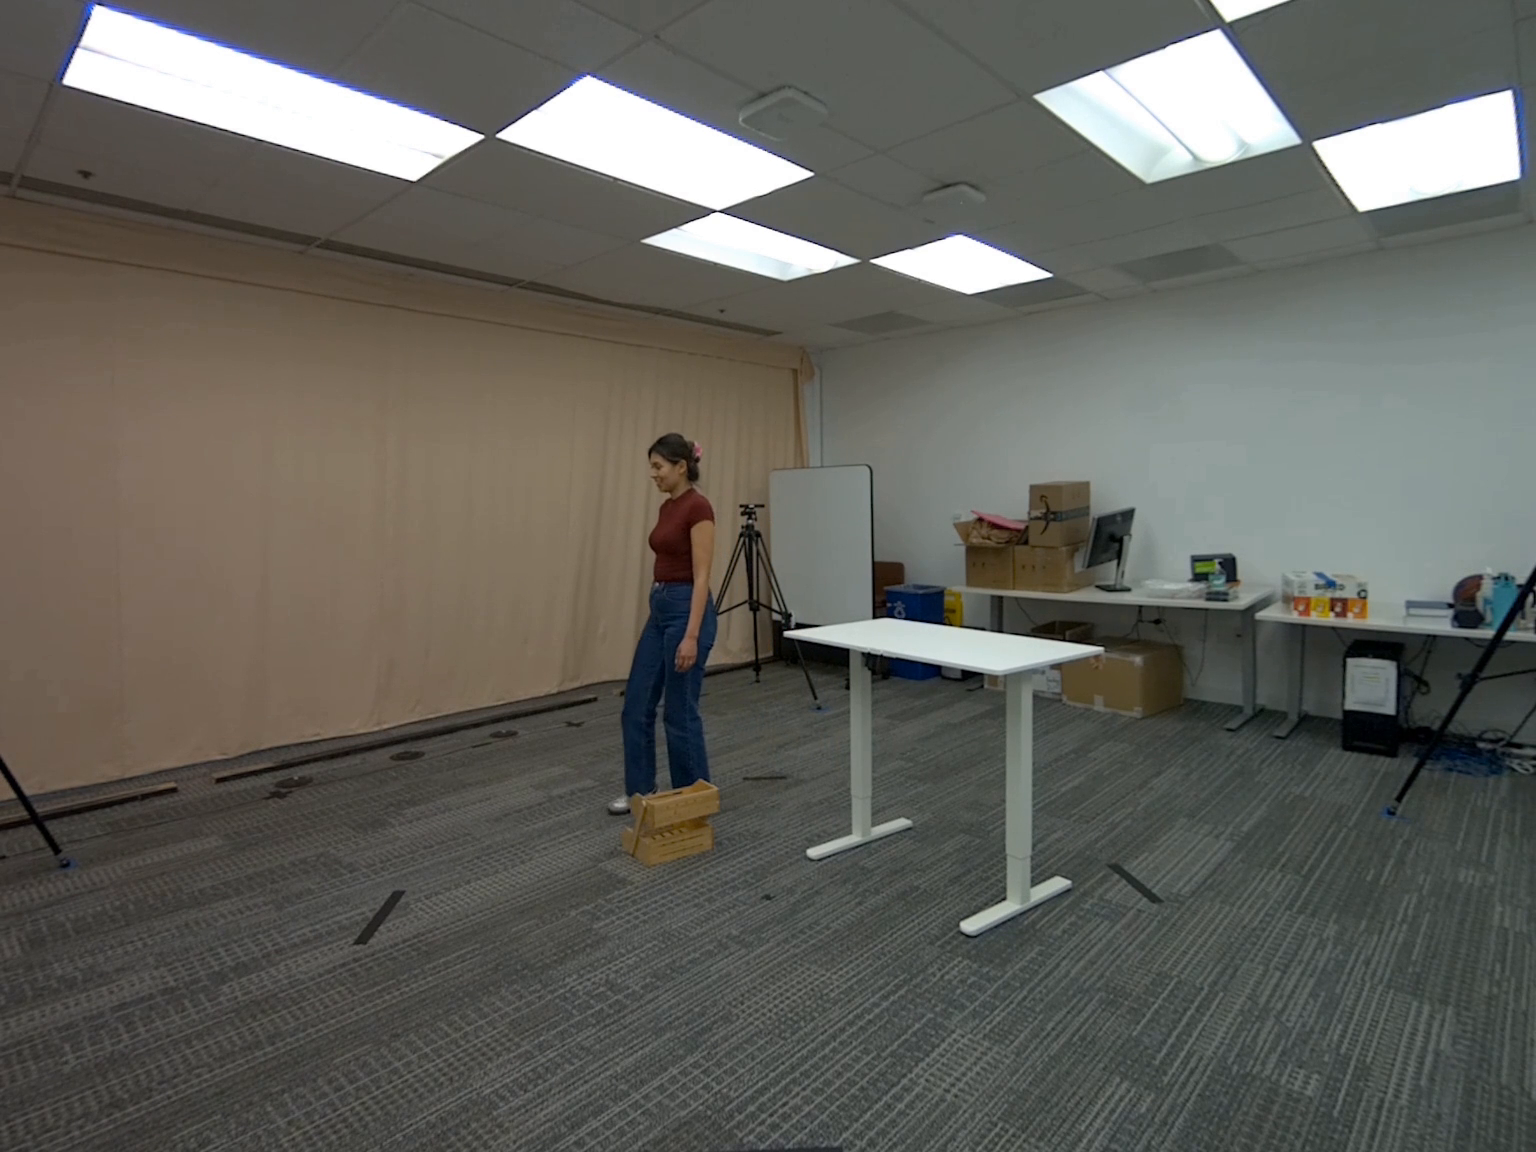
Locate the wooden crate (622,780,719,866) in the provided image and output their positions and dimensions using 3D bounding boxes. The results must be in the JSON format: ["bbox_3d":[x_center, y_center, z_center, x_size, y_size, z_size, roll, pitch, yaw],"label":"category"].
[{"bbox_3d":[-0.403,0.974,3.419,0.315,0.273,0.311,-4,5,-33],"label":"wooden crate"}]
